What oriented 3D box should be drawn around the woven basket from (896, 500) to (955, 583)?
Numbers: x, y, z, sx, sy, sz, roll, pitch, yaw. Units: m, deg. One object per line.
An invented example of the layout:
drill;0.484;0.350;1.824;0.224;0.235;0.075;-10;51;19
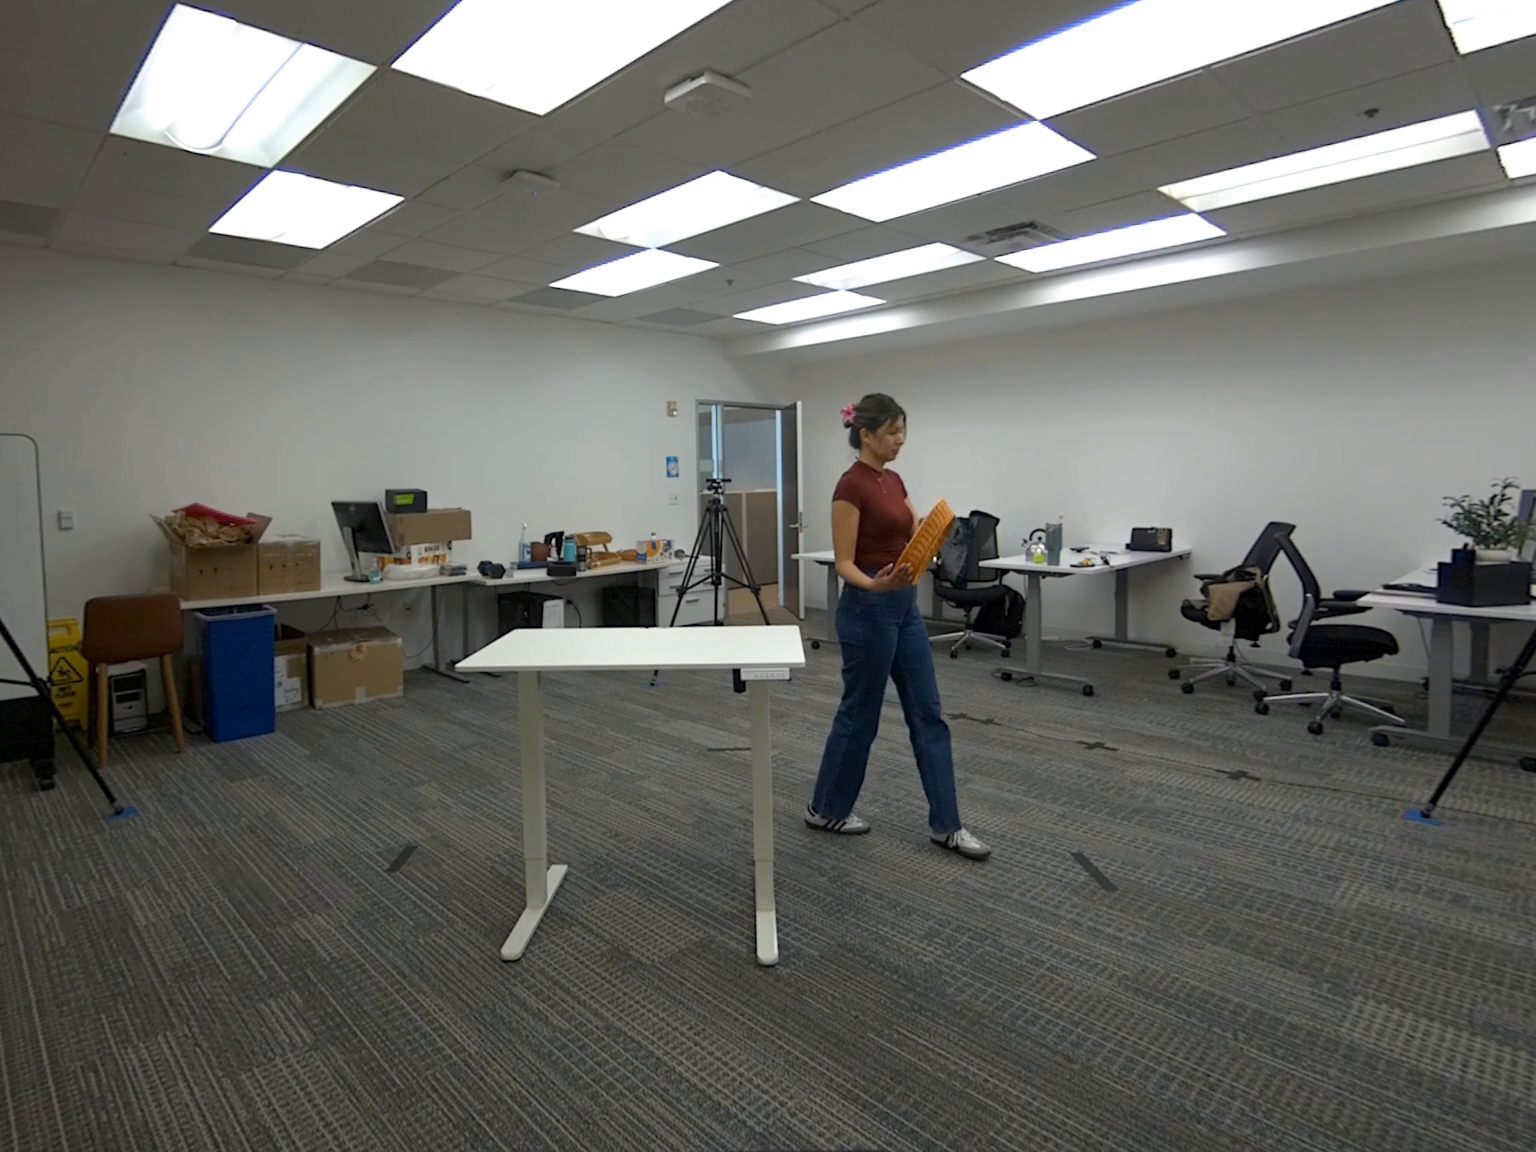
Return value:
woven basket;0.530;-0.103;2.894;0.075;0.351;0.247;34;-6;13
